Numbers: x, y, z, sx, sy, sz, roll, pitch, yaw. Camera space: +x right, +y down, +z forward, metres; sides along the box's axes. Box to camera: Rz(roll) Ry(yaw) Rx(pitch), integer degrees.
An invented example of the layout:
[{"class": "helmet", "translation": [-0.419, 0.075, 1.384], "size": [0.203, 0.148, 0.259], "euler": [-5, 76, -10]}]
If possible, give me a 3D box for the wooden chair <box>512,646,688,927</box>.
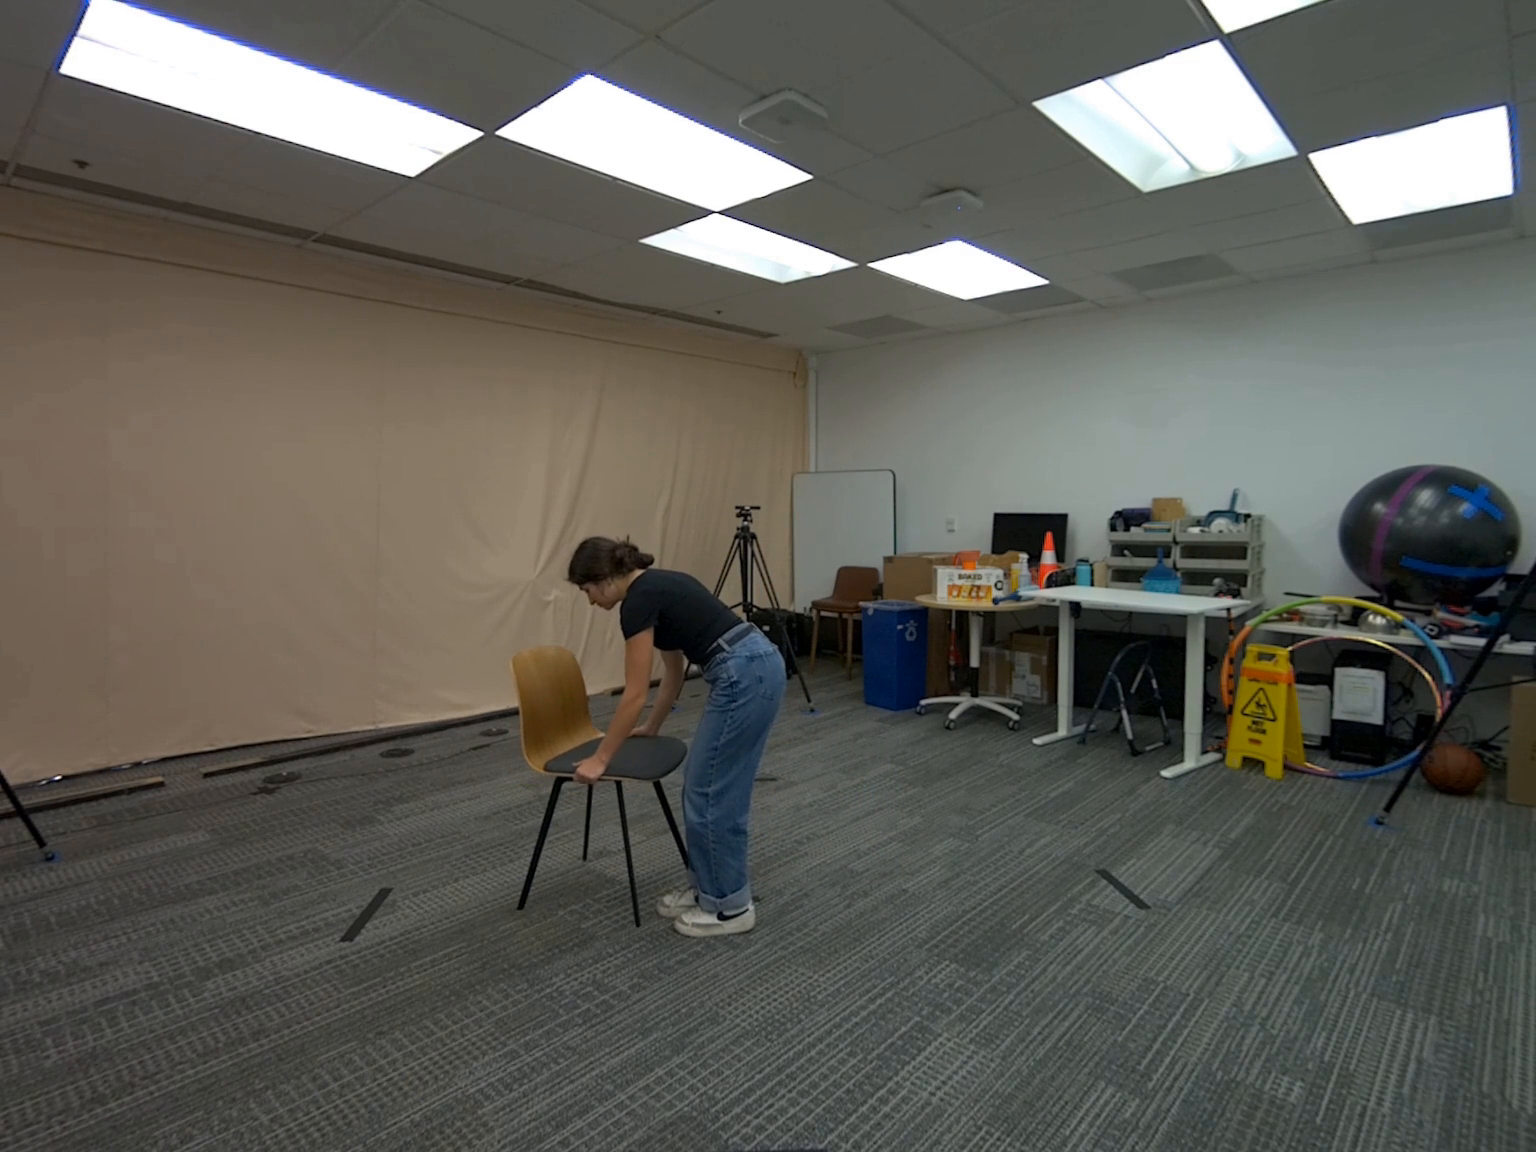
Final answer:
[{"class": "wooden chair", "translation": [-0.567, 0.674, 2.922], "size": [0.533, 0.877, 0.469], "euler": [-6, 1, 20]}]
